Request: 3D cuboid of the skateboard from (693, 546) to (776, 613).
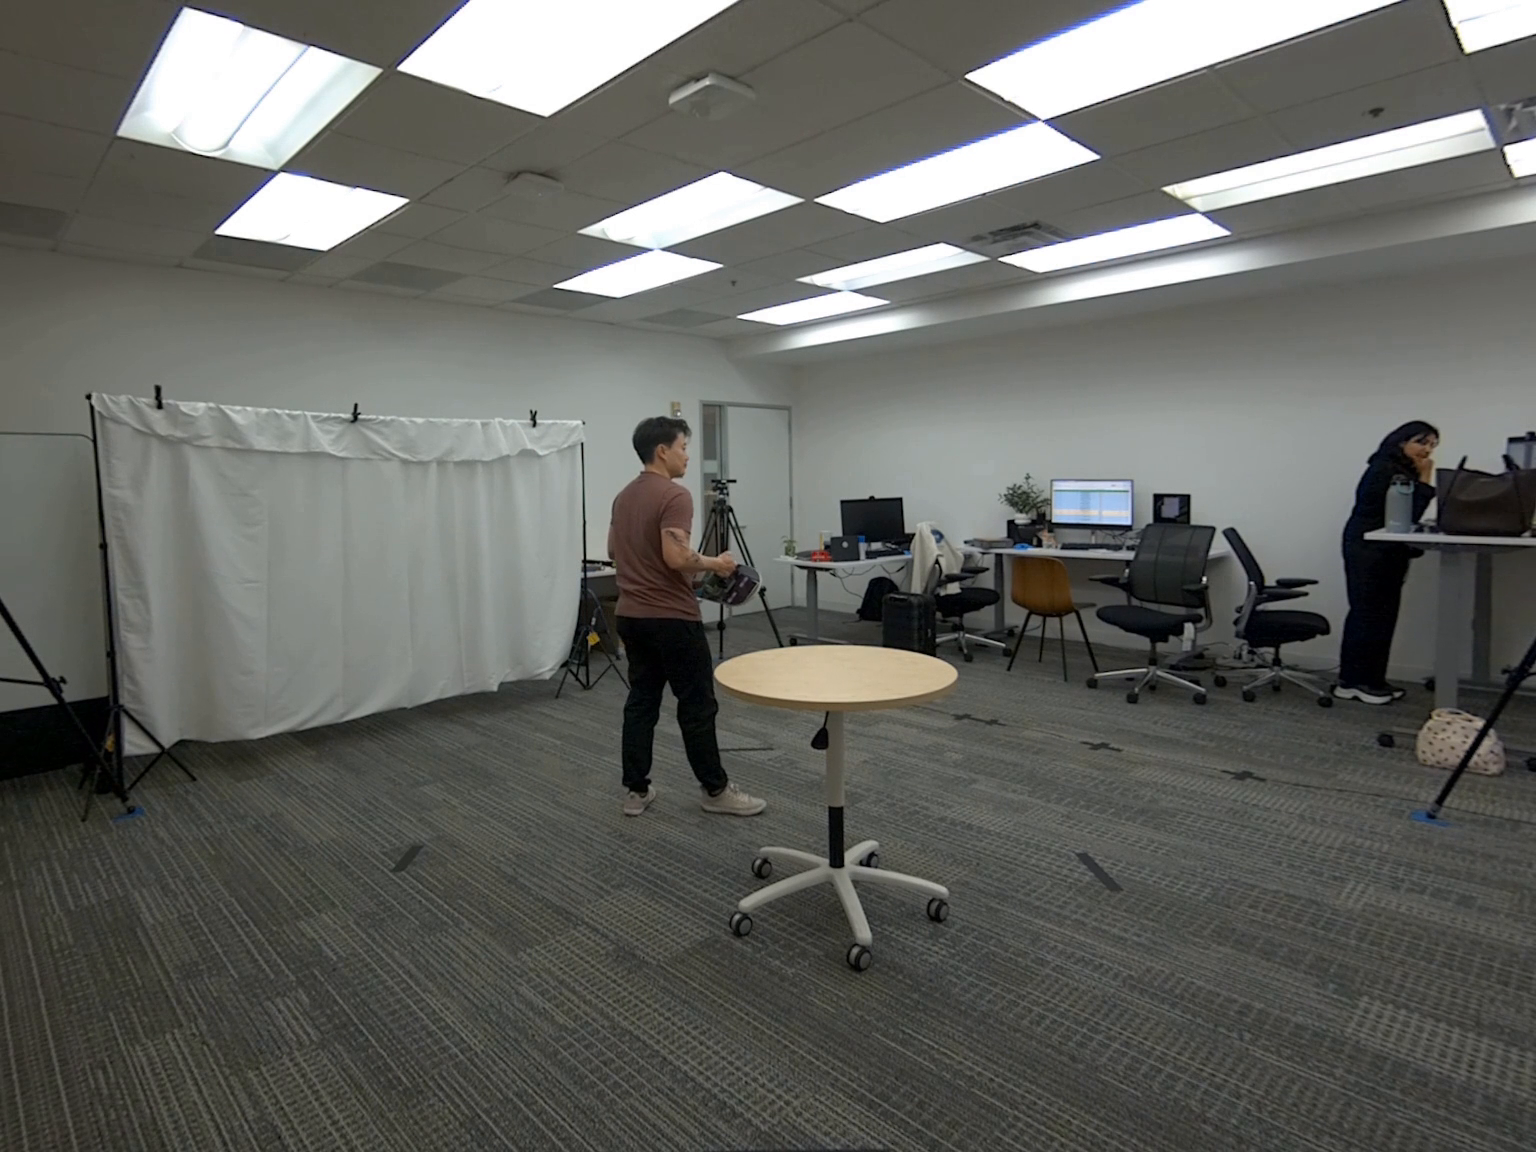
[{"bbox_3d":[-0.286,-0.011,3.743,0.106,0.194,0.810,42,-17,-31],"label":"skateboard"}]
